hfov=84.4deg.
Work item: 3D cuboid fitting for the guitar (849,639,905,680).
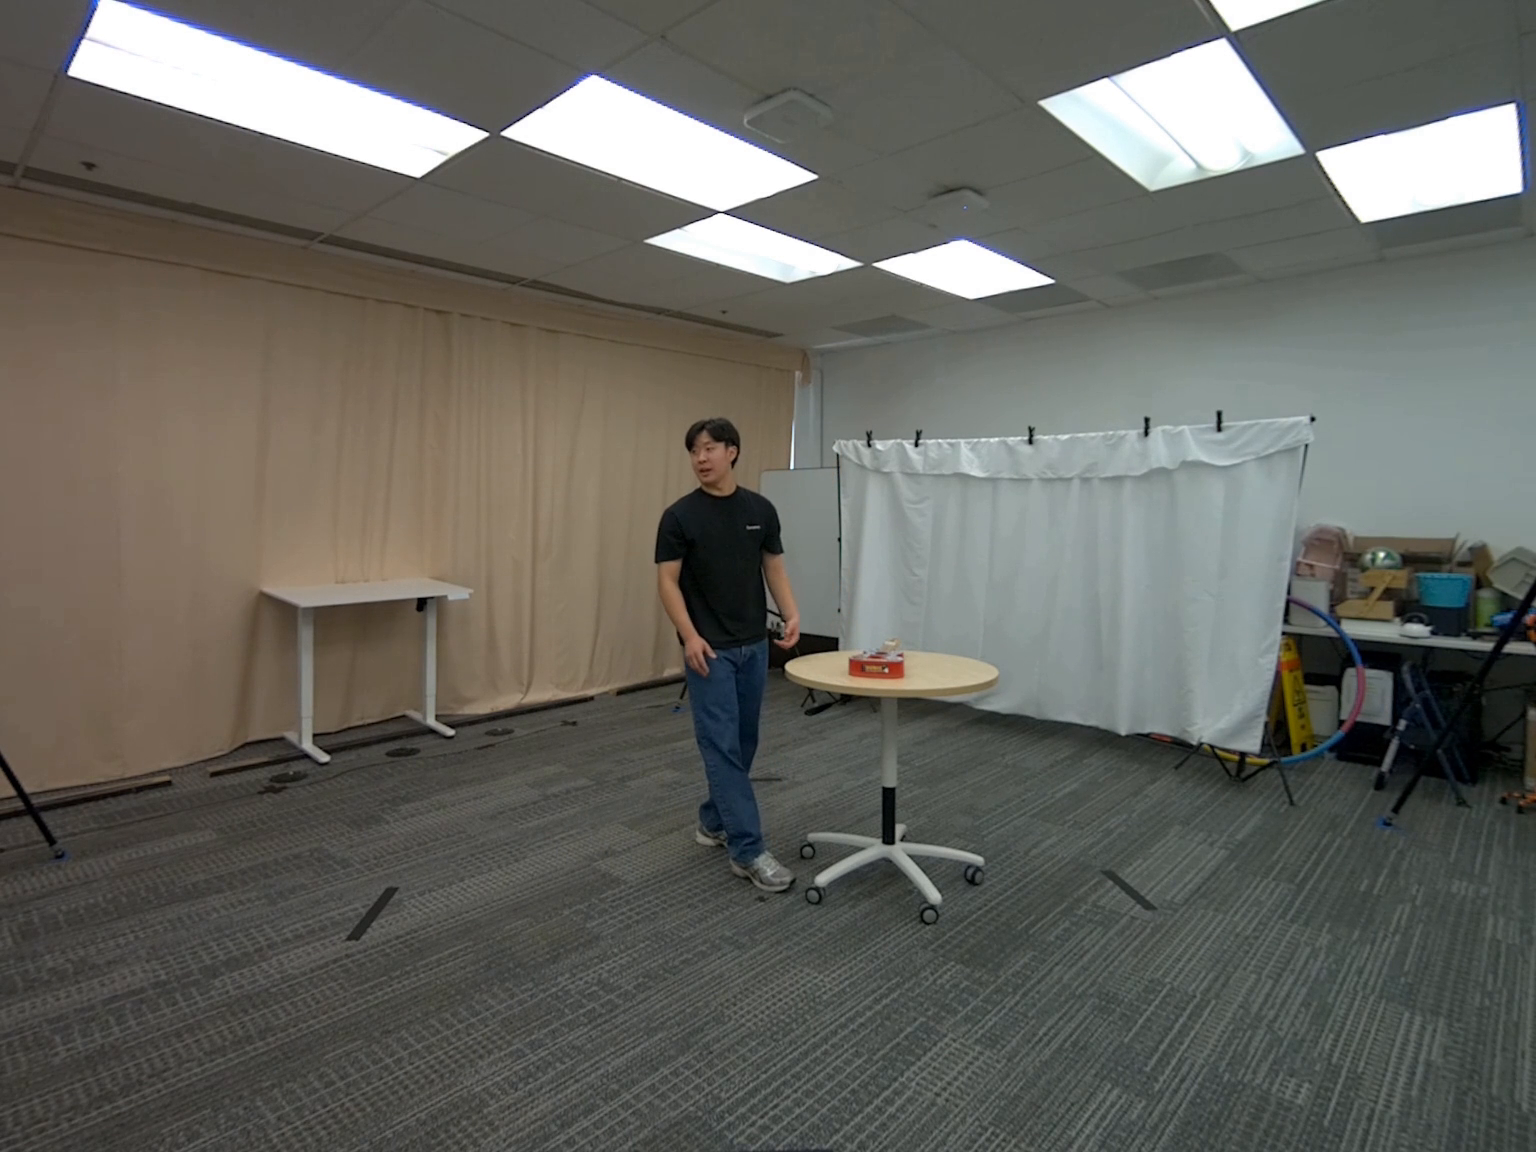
[{"bbox_3d":[0.466,0.304,3.111,0.198,0.070,0.486,1,5,26],"label":"guitar"}]
